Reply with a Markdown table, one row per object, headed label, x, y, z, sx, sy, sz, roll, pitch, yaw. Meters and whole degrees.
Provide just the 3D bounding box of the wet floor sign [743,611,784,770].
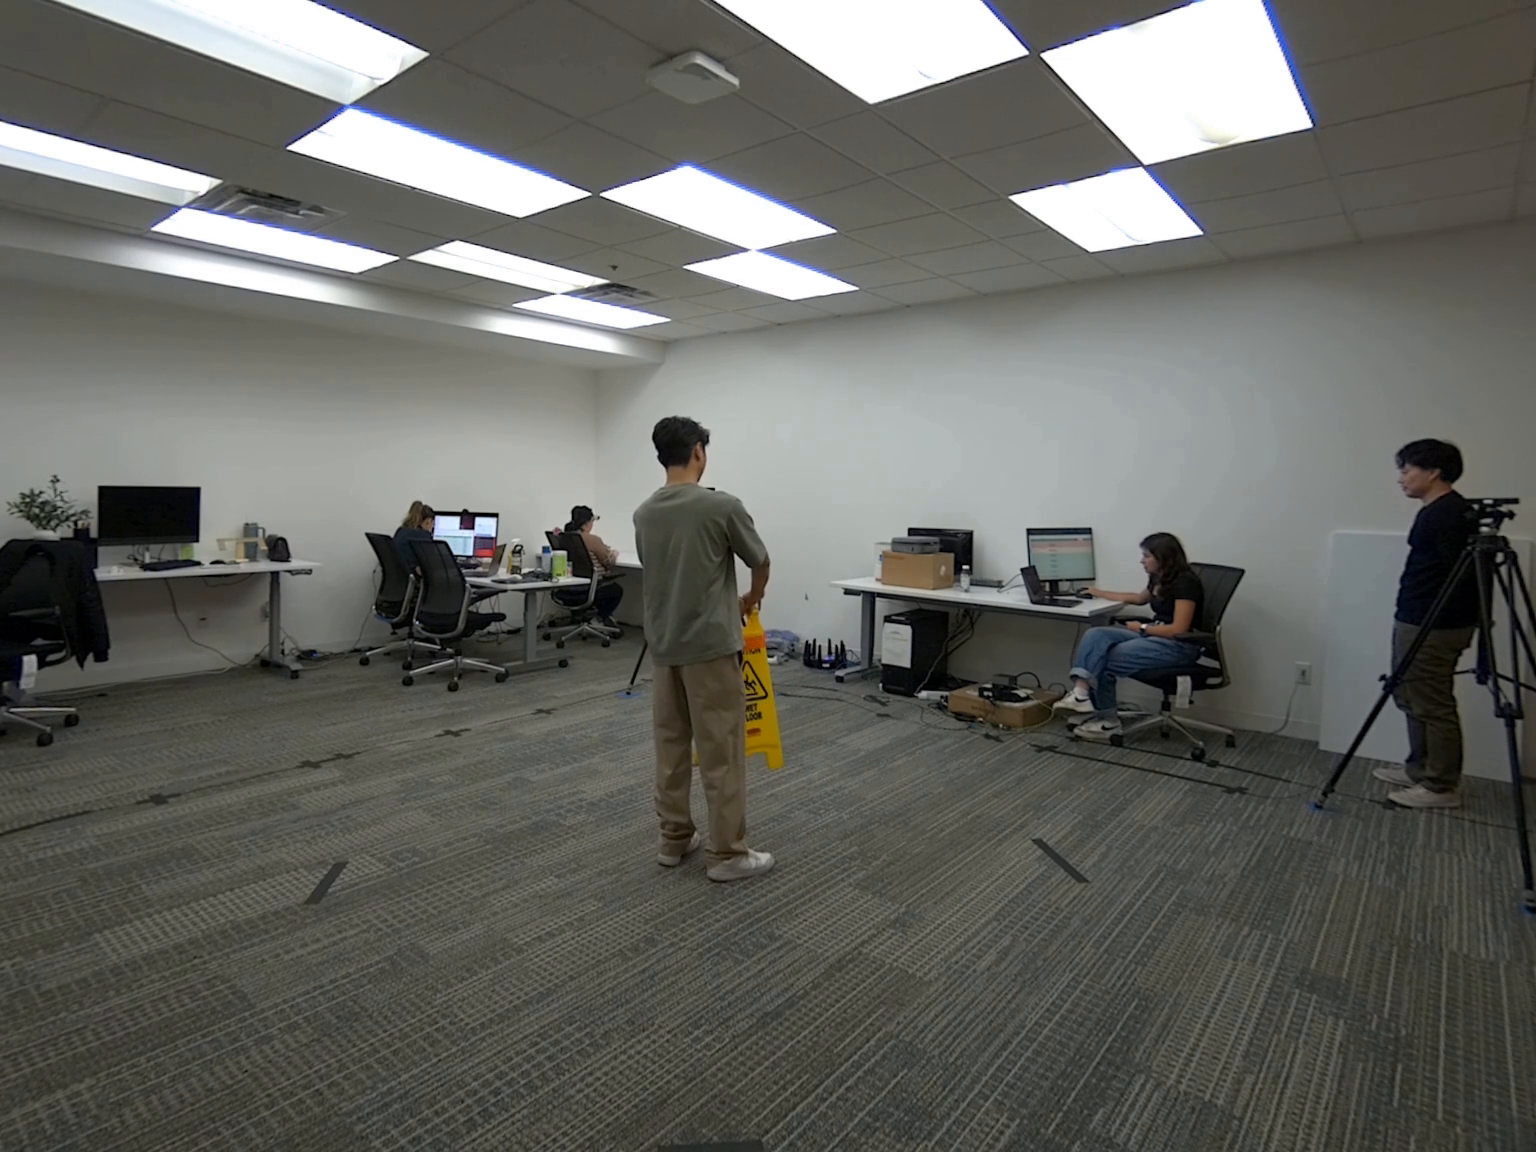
| label | x | y | z | sx | sy | sz | roll | pitch | yaw |
| --- | --- | --- | --- | --- | --- | --- | --- | --- | --- |
| wet floor sign | -0.131 | 0.446 | 3.460 | 0.274 | 0.644 | 0.299 | -3 | 4 | -36 |
